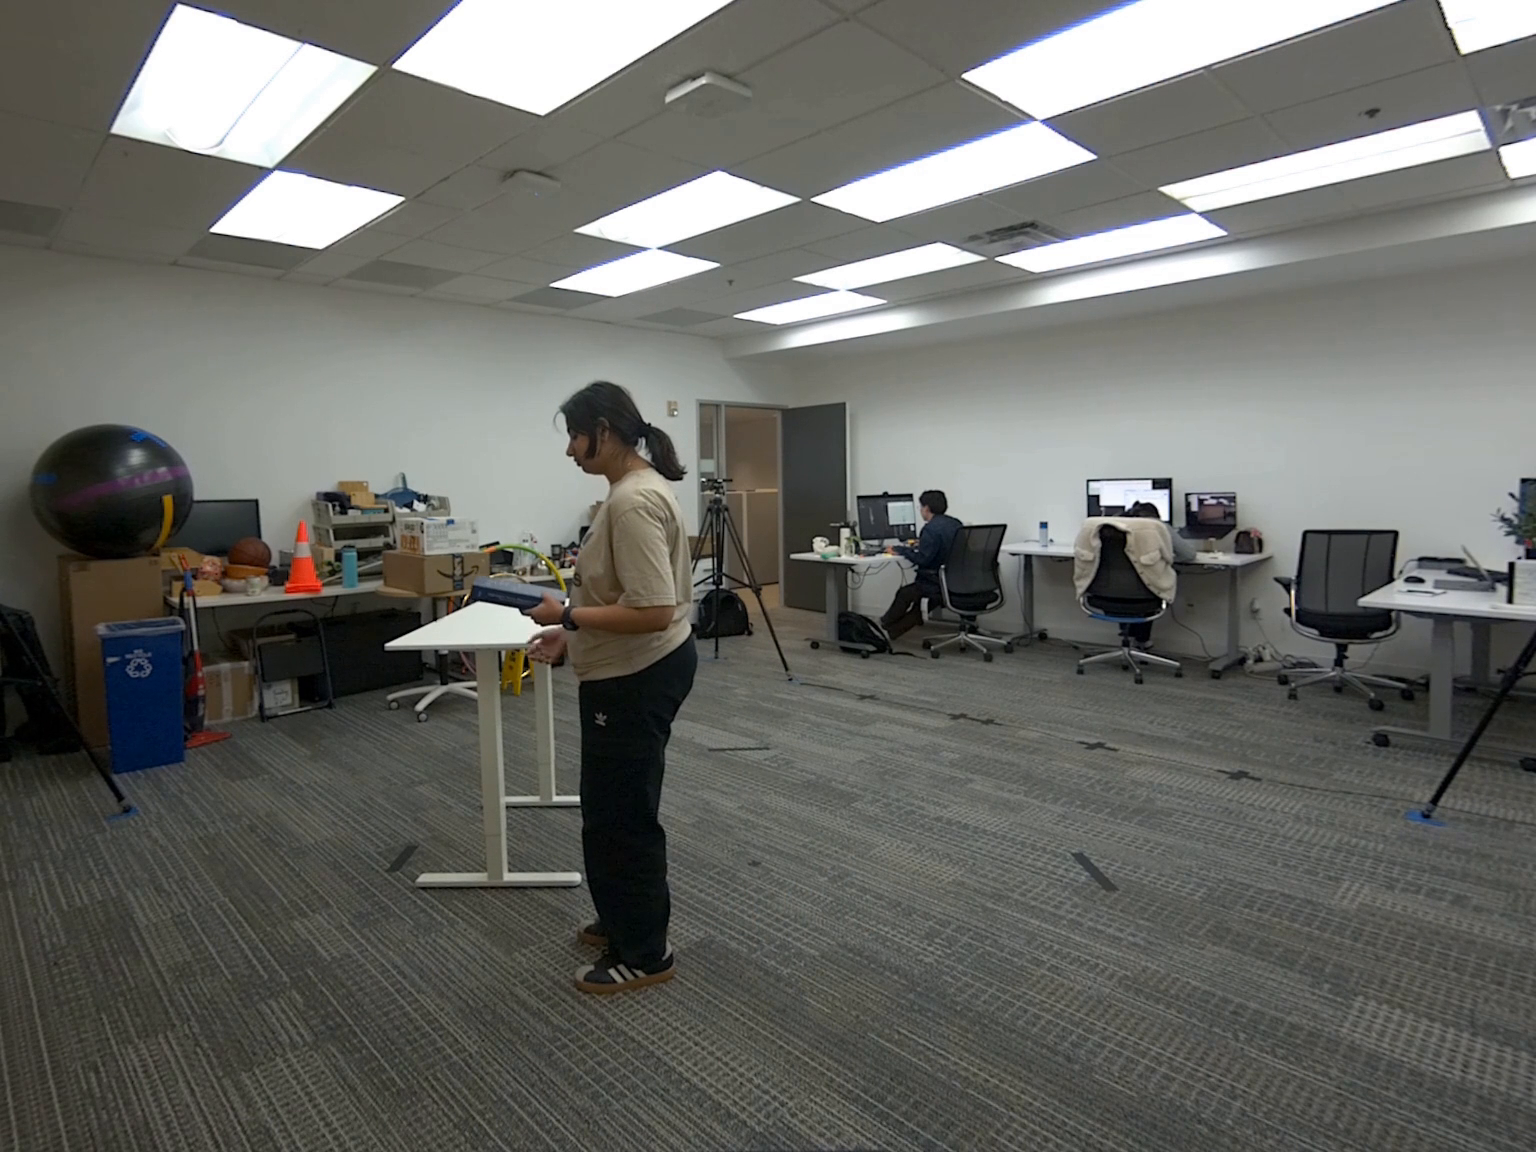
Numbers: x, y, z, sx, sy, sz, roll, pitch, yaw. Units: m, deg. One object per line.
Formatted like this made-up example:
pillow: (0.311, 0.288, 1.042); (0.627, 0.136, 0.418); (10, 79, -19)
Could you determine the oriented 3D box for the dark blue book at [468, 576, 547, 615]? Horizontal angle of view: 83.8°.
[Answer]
dark blue book: (-0.681, 0.048, 2.314); (0.242, 0.045, 0.166); (11, 6, -12)
